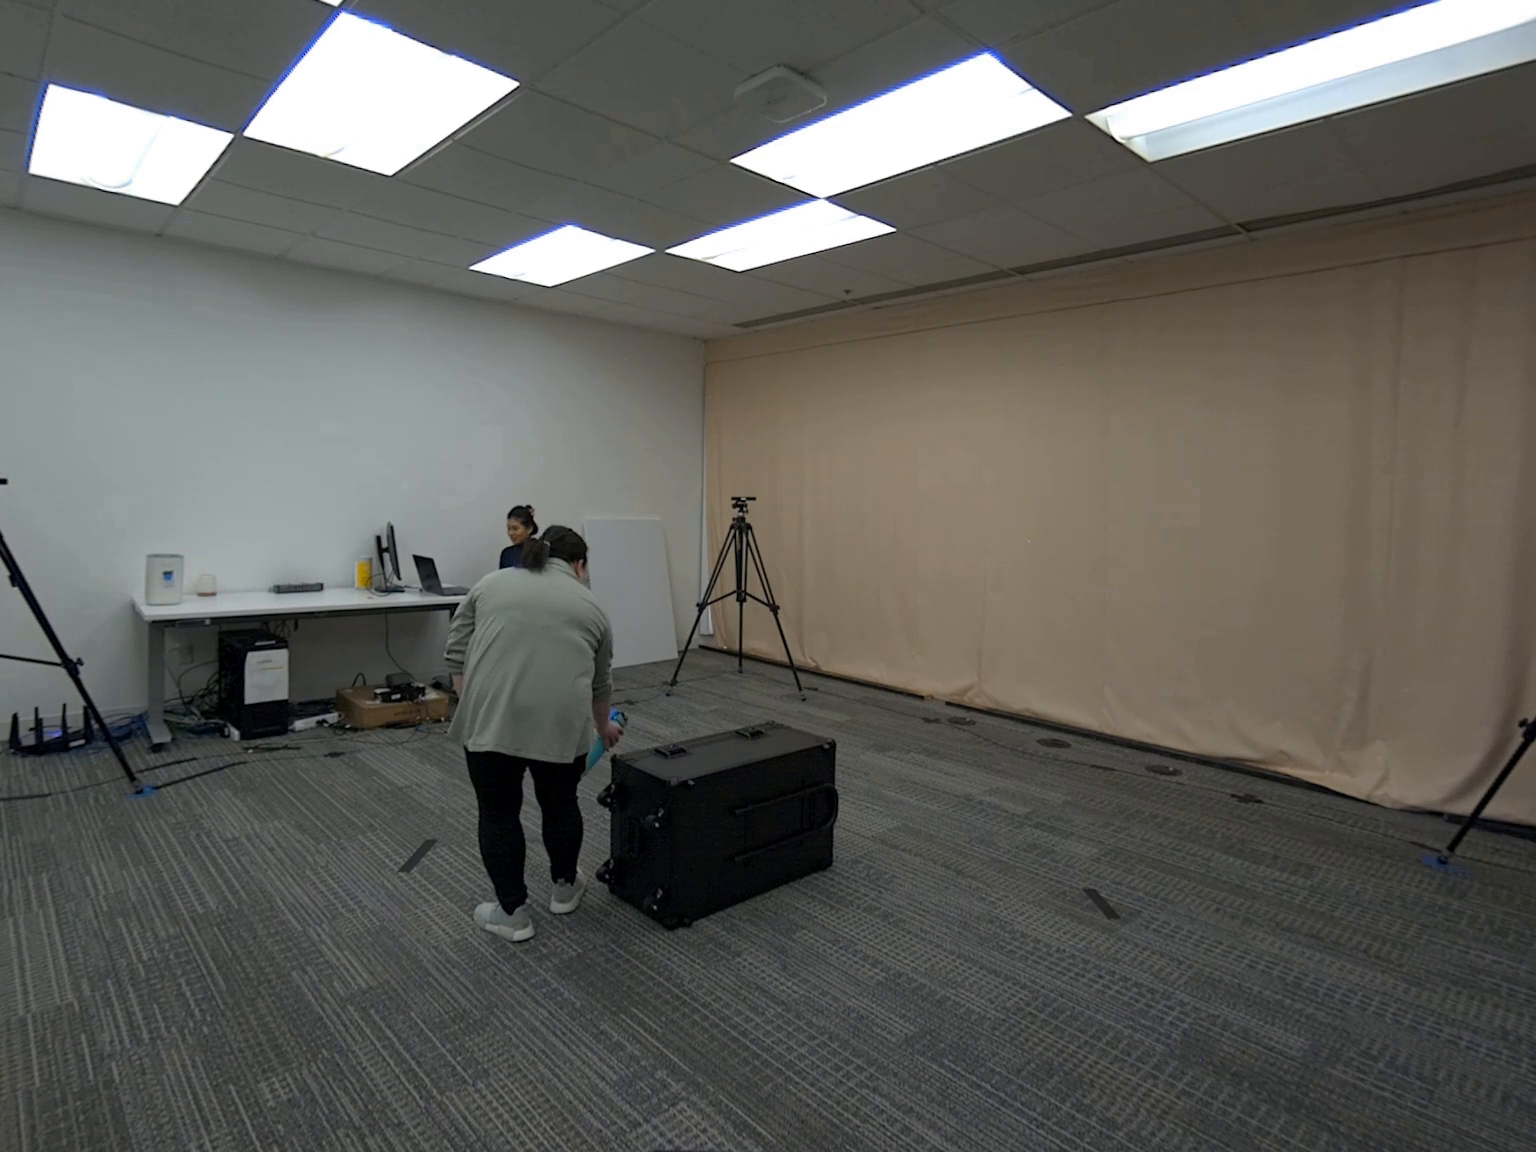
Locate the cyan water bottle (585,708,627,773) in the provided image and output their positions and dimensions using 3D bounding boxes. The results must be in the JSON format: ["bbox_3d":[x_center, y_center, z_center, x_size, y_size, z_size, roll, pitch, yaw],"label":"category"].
[{"bbox_3d":[-0.629,0.609,3.096,0.095,0.090,0.283,5,43,42],"label":"cyan water bottle"}]
